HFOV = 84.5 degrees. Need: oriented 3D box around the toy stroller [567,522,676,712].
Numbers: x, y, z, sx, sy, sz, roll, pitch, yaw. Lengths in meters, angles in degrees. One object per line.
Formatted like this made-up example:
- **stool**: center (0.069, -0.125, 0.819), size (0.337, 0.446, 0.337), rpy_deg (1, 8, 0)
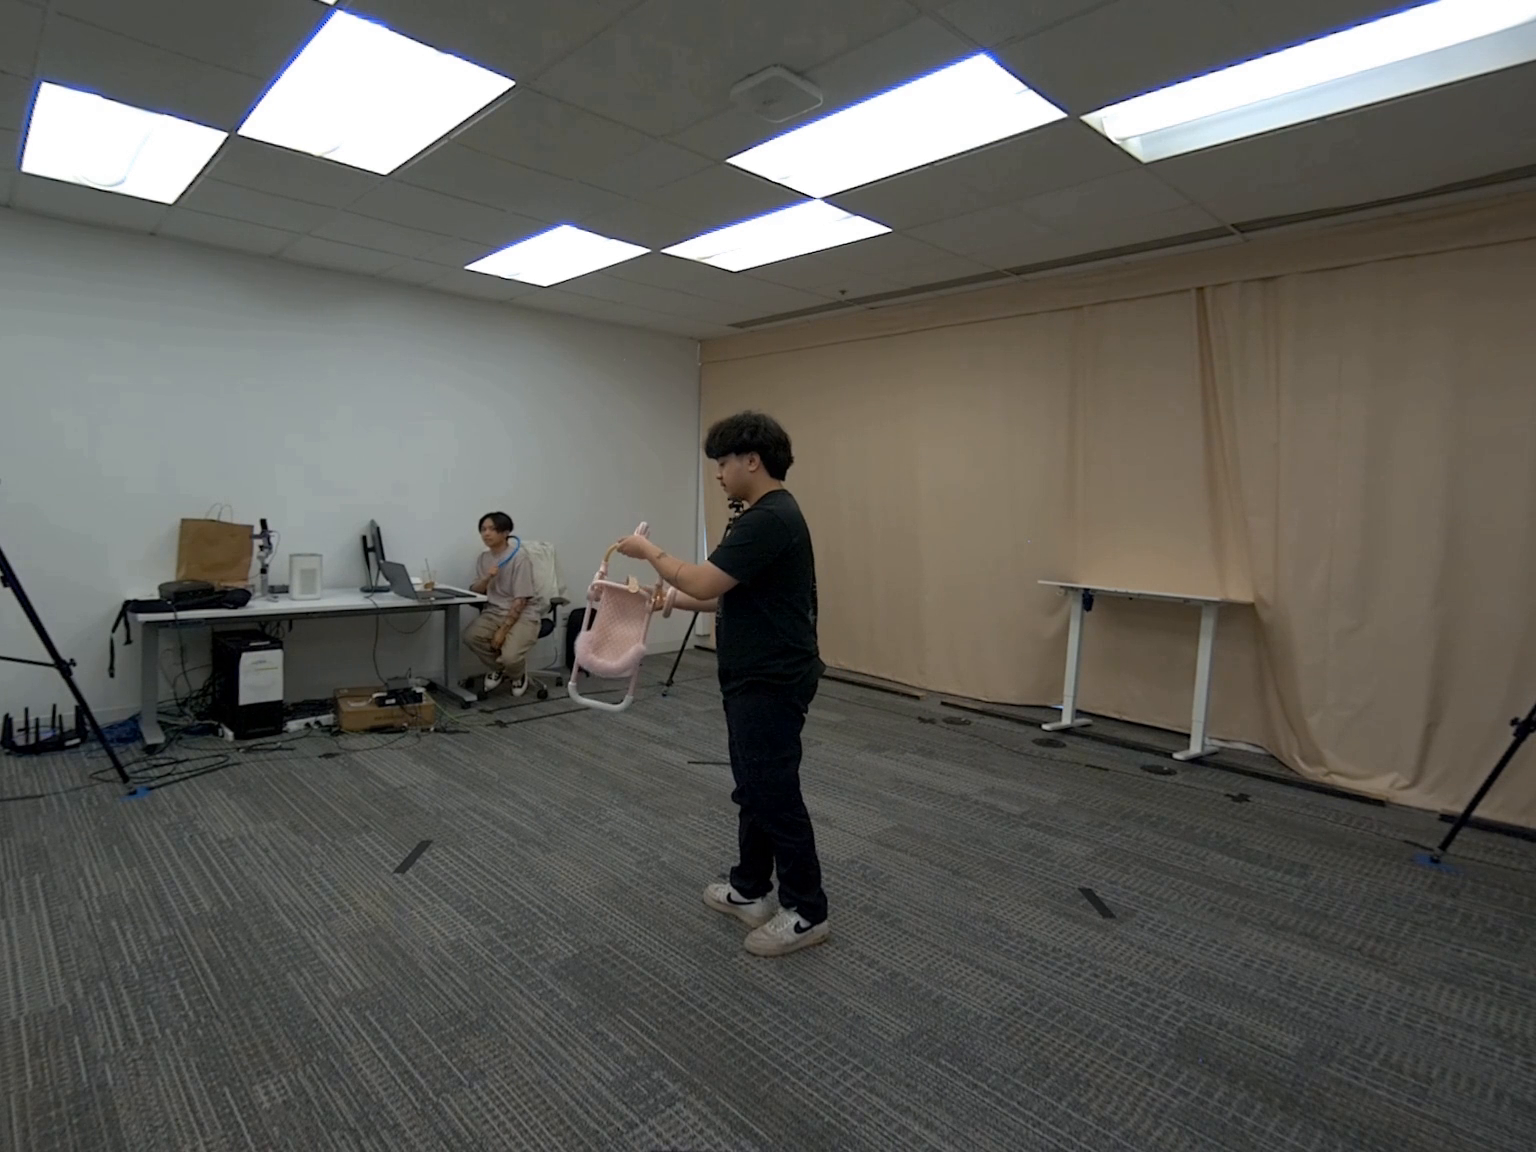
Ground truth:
- **toy stroller**: center (-0.466, 0.129, 2.687), size (0.281, 0.543, 0.337), rpy_deg (16, -35, -3)
